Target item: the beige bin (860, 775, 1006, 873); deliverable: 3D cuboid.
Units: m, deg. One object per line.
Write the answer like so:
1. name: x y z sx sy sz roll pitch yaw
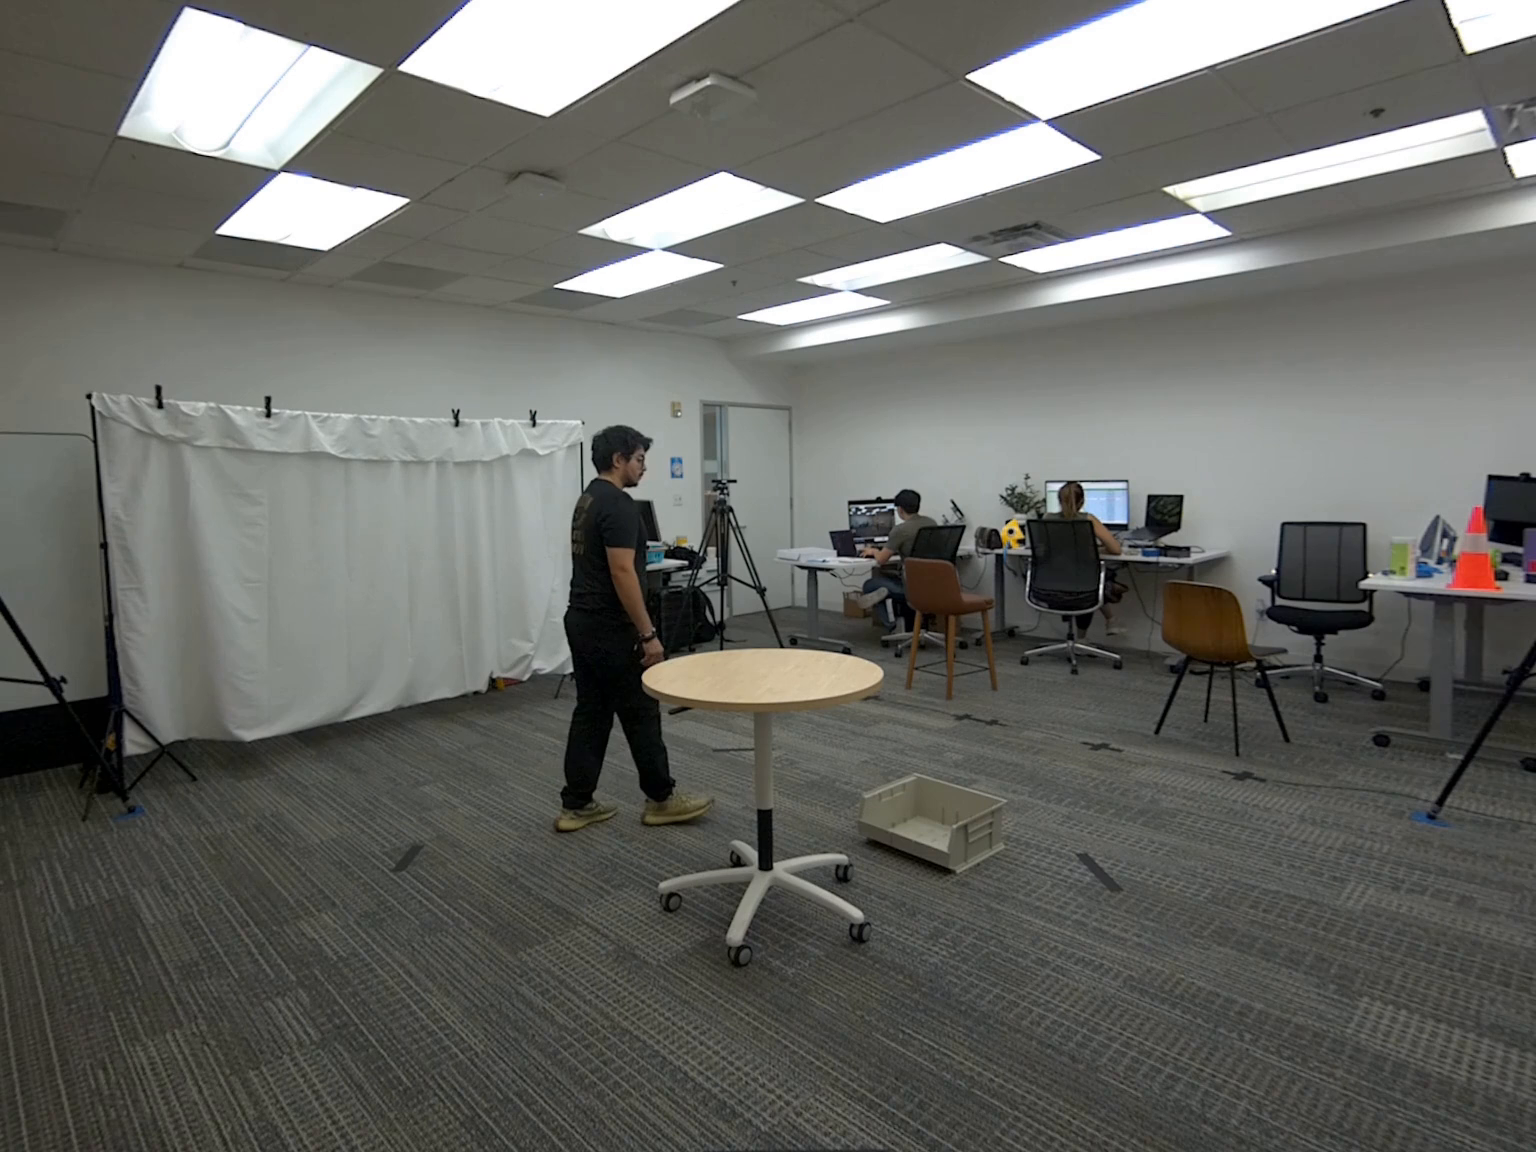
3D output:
1. beige bin: 0.620 0.934 3.238 0.367 0.188 0.435 -5 7 -43
